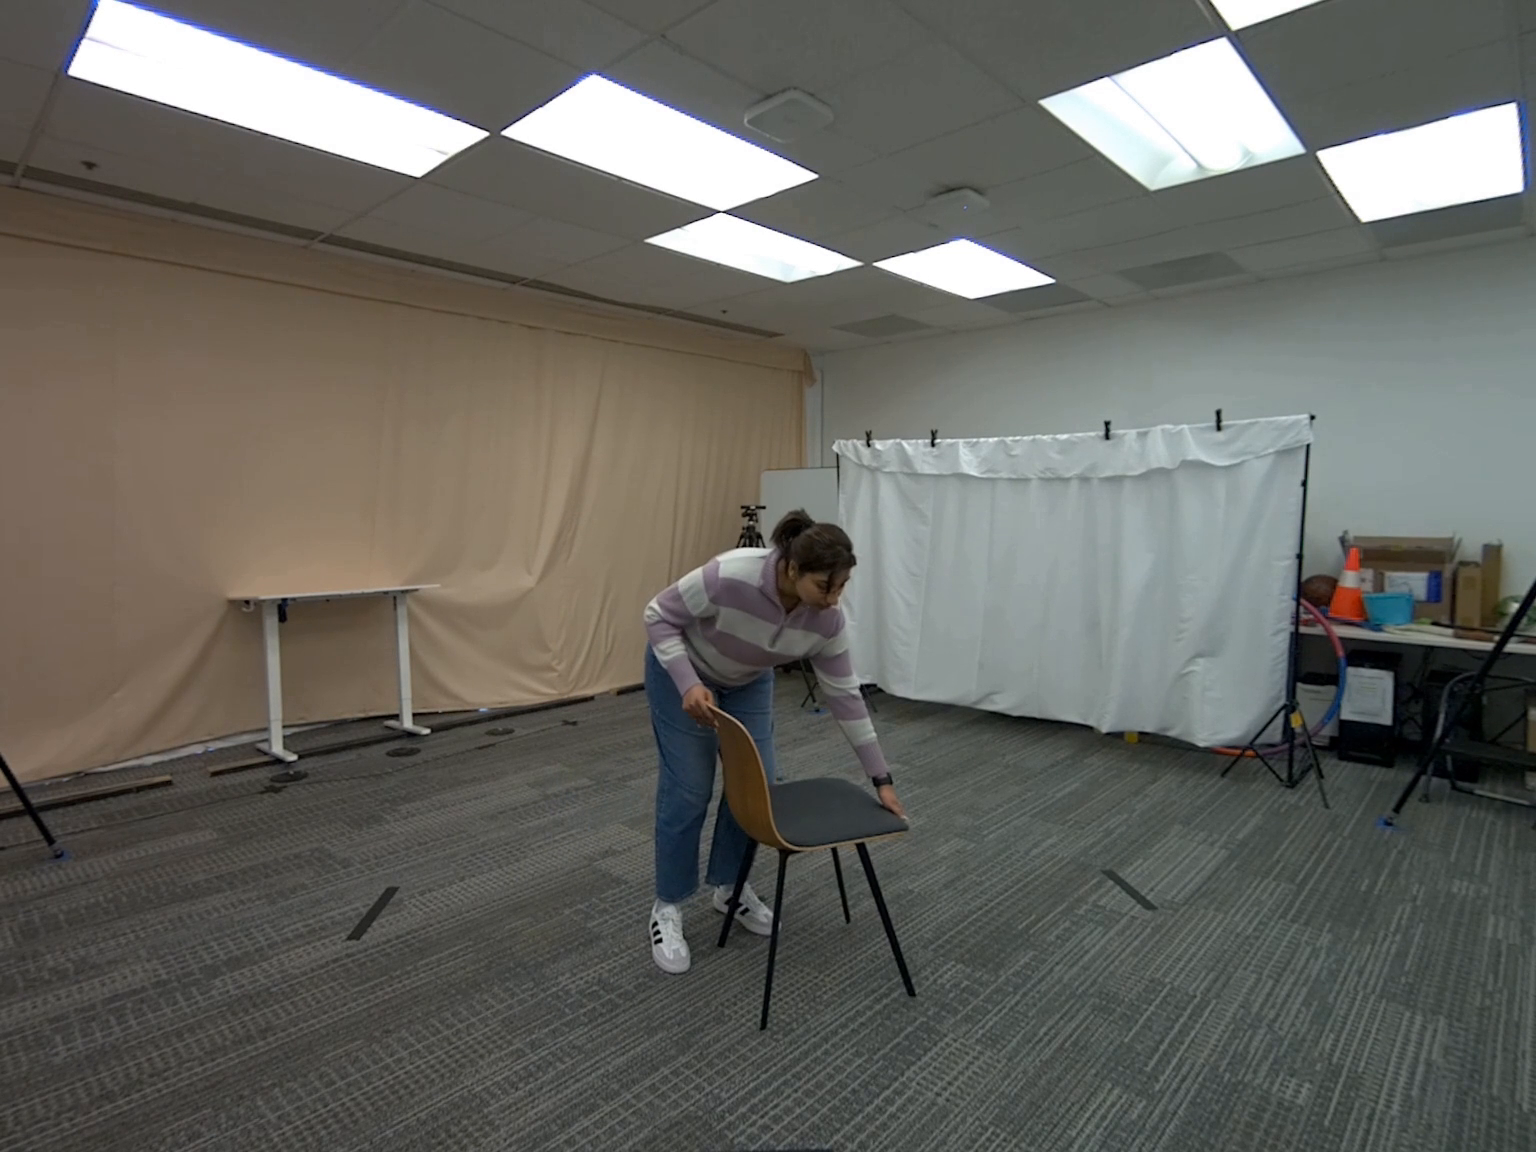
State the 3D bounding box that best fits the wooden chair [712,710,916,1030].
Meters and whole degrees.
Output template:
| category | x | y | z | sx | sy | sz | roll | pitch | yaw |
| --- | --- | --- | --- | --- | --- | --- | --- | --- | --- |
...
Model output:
| category | x | y | z | sx | sy | sz | roll | pitch | yaw |
| --- | --- | --- | --- | --- | --- | --- | --- | --- | --- |
| wooden chair | 0.122 | 0.748 | 2.472 | 0.515 | 0.874 | 0.487 | -8 | 5 | -17 |
